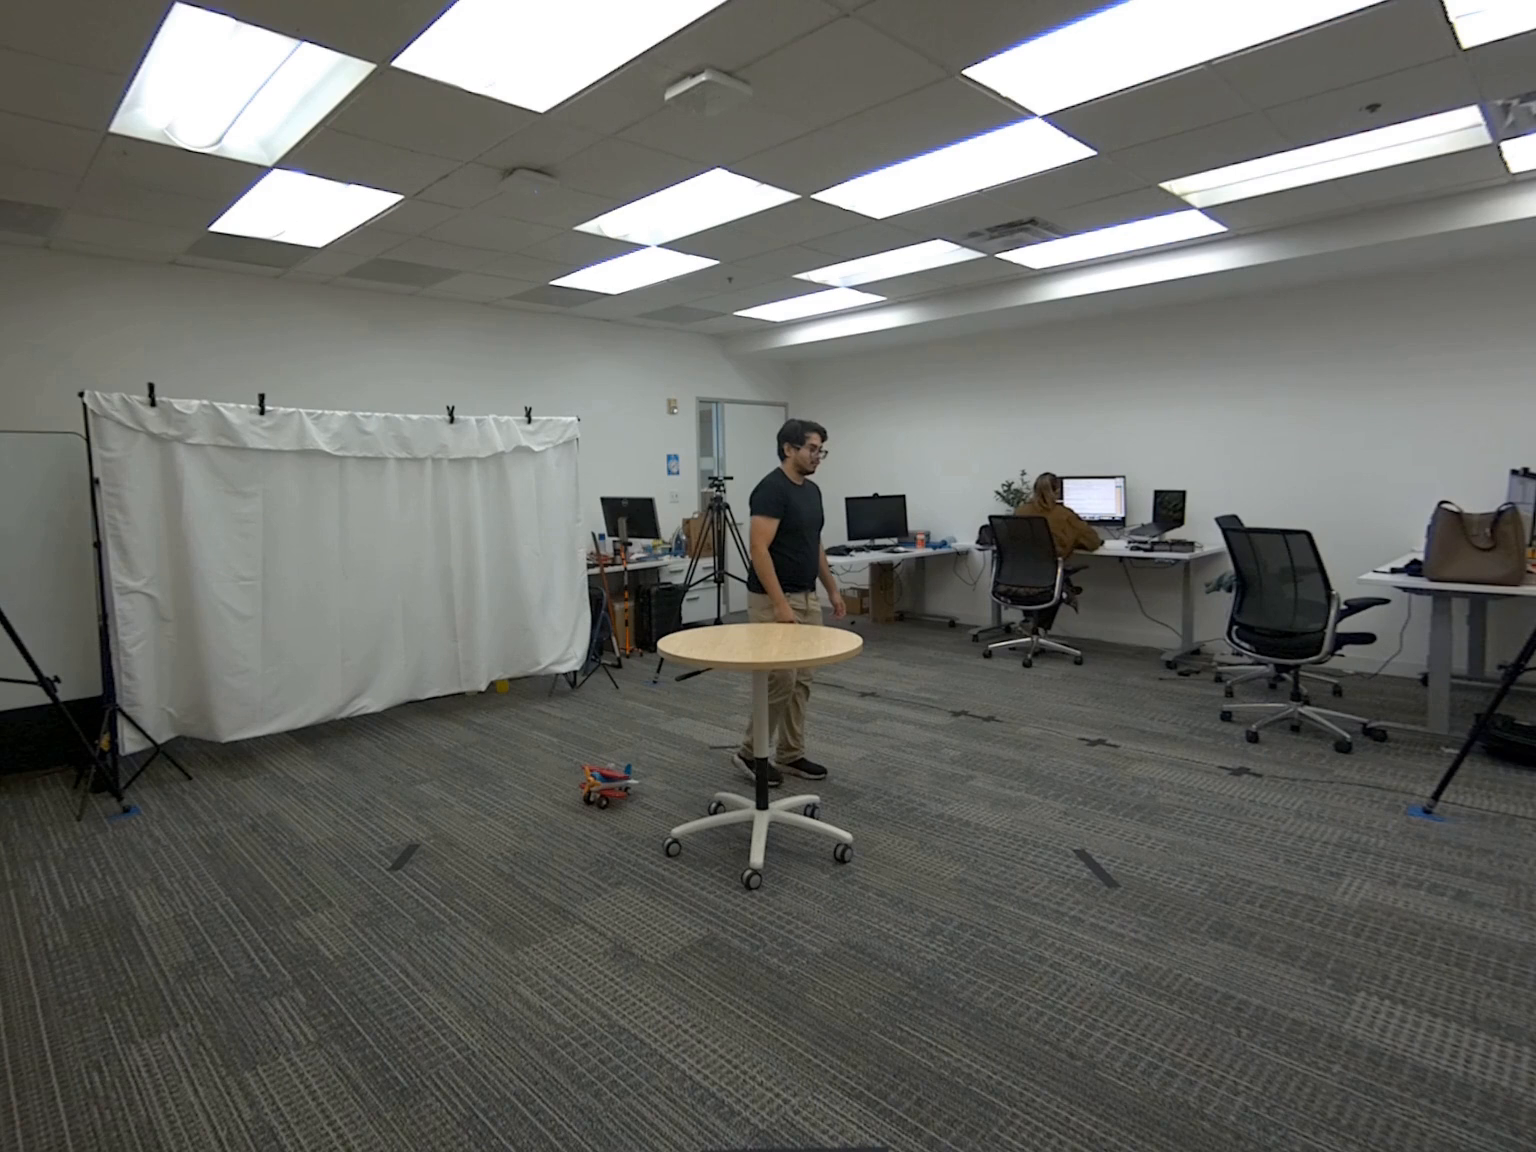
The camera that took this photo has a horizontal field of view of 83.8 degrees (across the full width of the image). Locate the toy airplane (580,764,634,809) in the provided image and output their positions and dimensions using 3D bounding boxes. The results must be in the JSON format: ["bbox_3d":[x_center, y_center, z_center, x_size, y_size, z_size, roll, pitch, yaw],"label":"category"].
[{"bbox_3d":[-0.708,0.906,3.741,0.253,0.155,0.258,-1,7,9],"label":"toy airplane"}]
